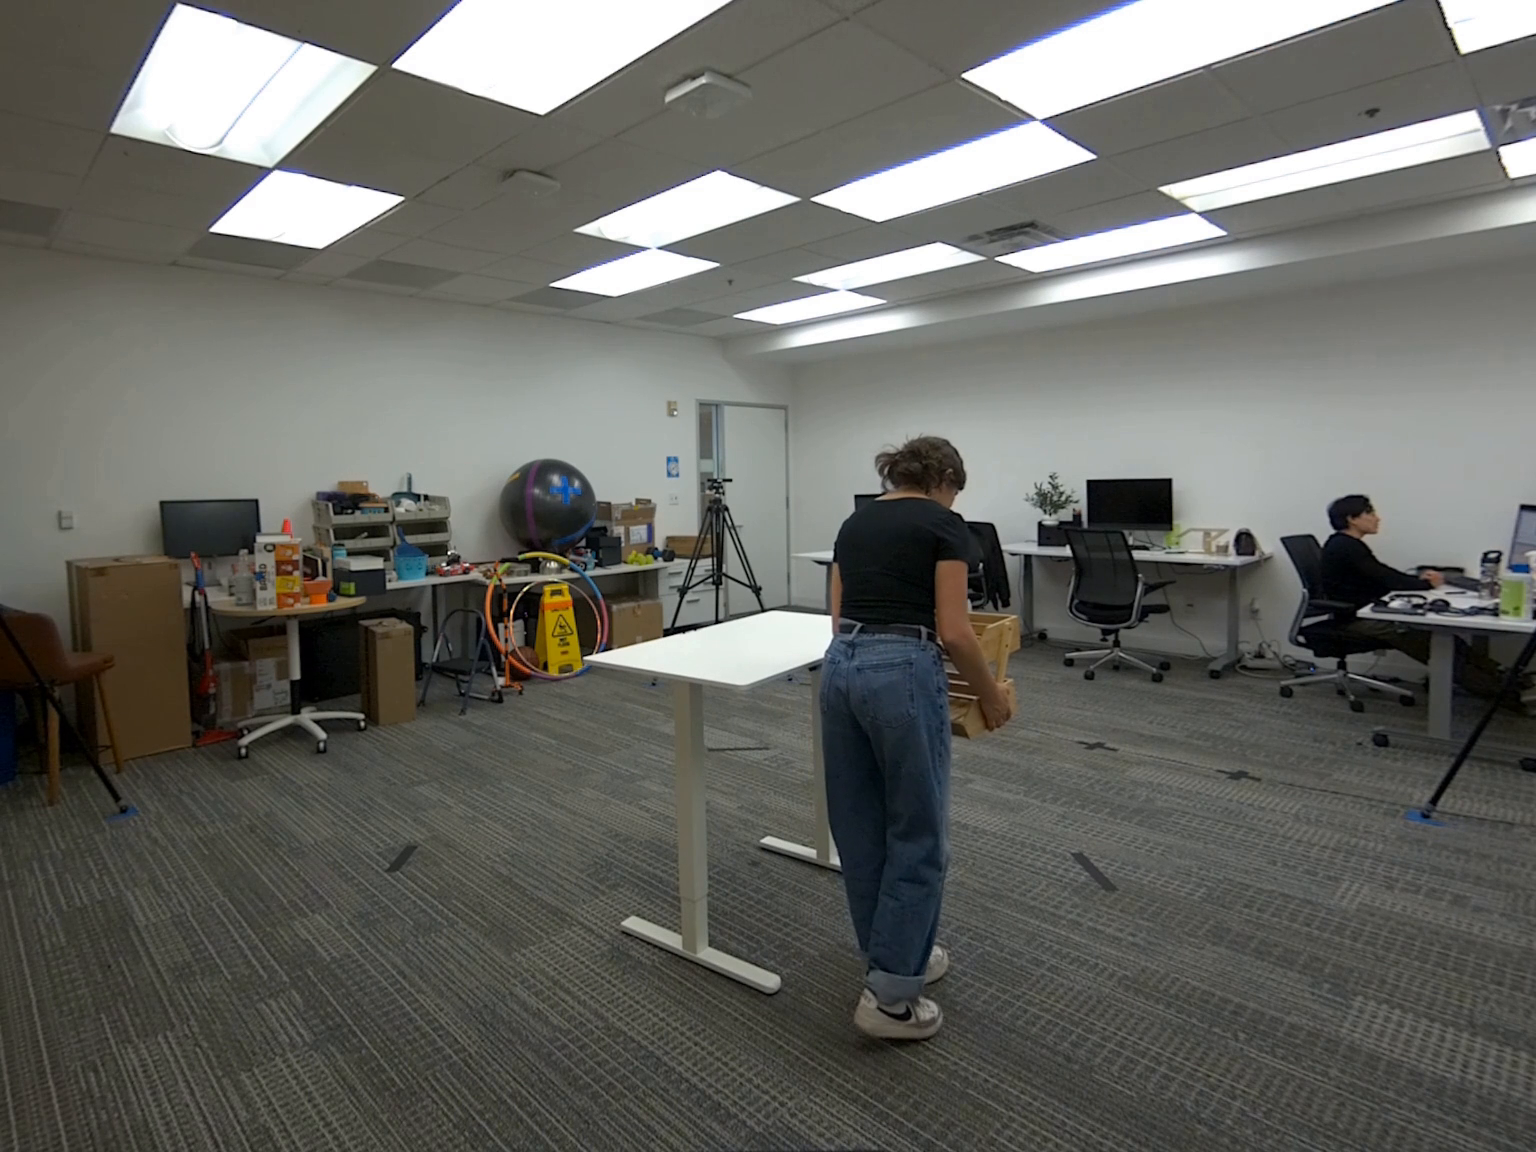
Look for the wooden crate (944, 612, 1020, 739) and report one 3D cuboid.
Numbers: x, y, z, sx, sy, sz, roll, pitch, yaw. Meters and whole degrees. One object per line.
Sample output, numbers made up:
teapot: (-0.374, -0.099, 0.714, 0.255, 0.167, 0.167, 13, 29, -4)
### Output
wooden crate: (0.501, 0.257, 2.366, 0.295, 0.271, 0.334, -12, 10, -42)
